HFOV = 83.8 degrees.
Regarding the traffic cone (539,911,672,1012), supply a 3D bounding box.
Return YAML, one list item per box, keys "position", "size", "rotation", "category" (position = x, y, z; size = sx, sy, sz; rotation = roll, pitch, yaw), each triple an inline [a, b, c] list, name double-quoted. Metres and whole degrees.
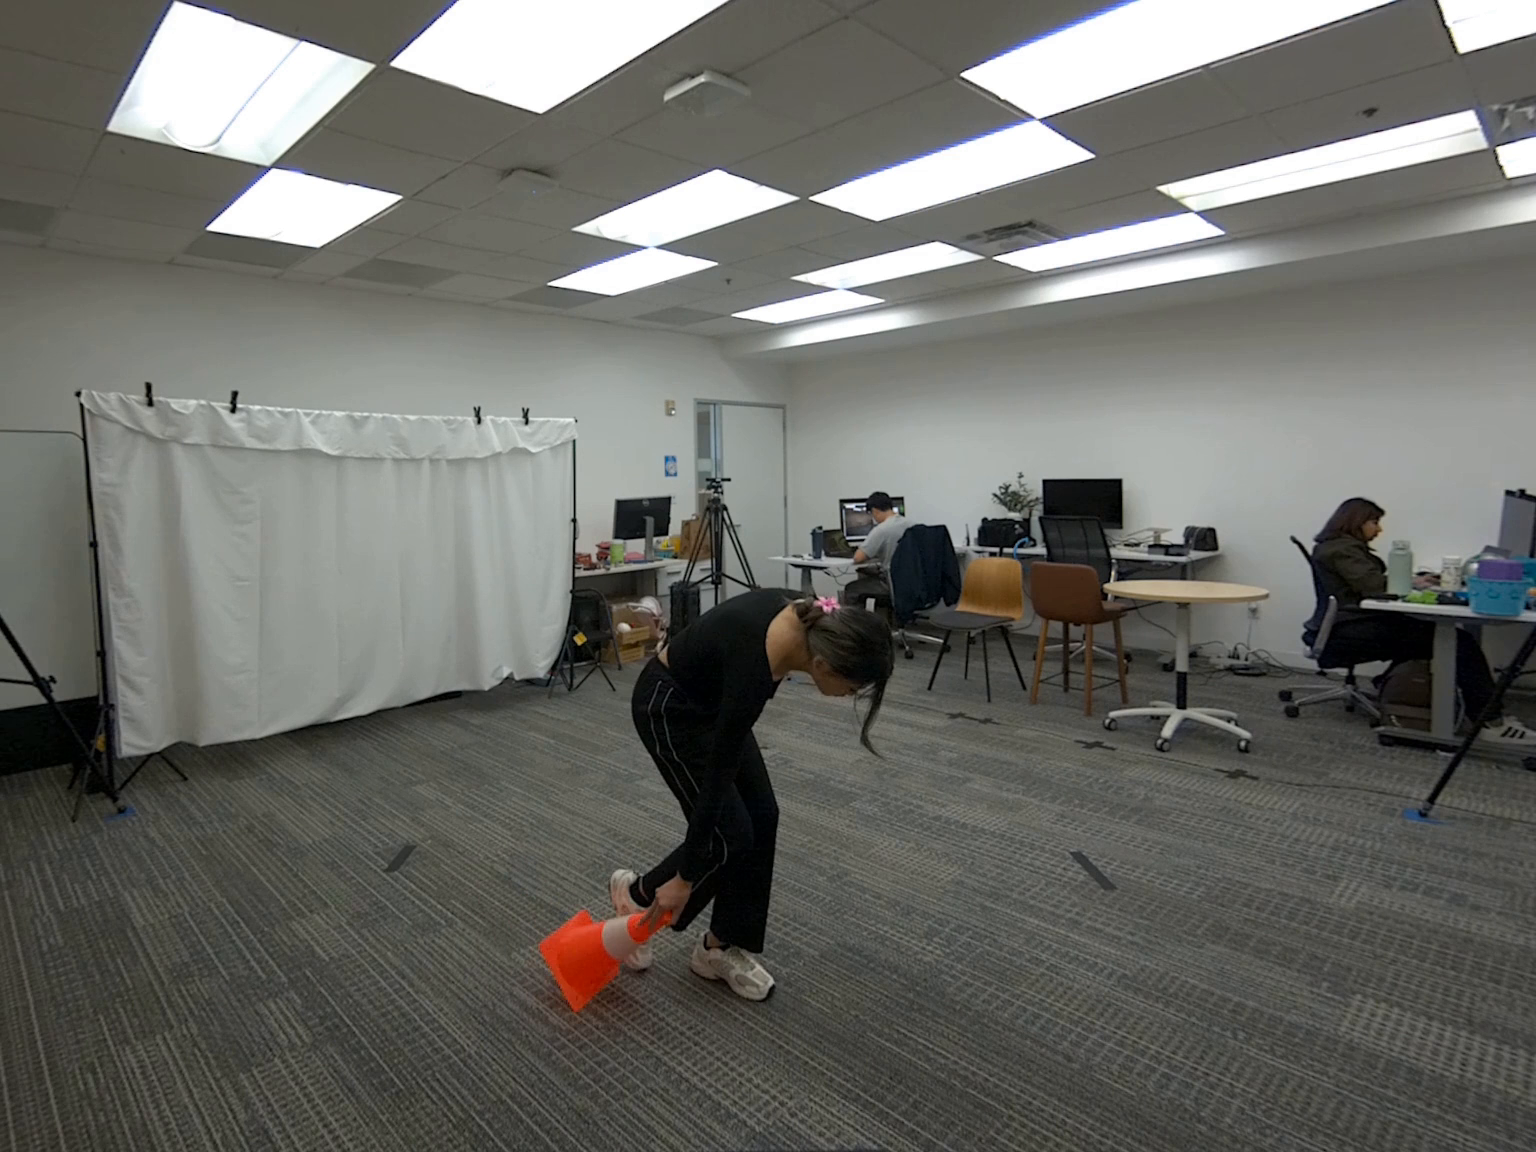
- position: [-0.380, 0.963, 2.246]
  size: [0.385, 0.206, 0.202]
  rotation: [-40, -9, 29]
  category: "traffic cone"
